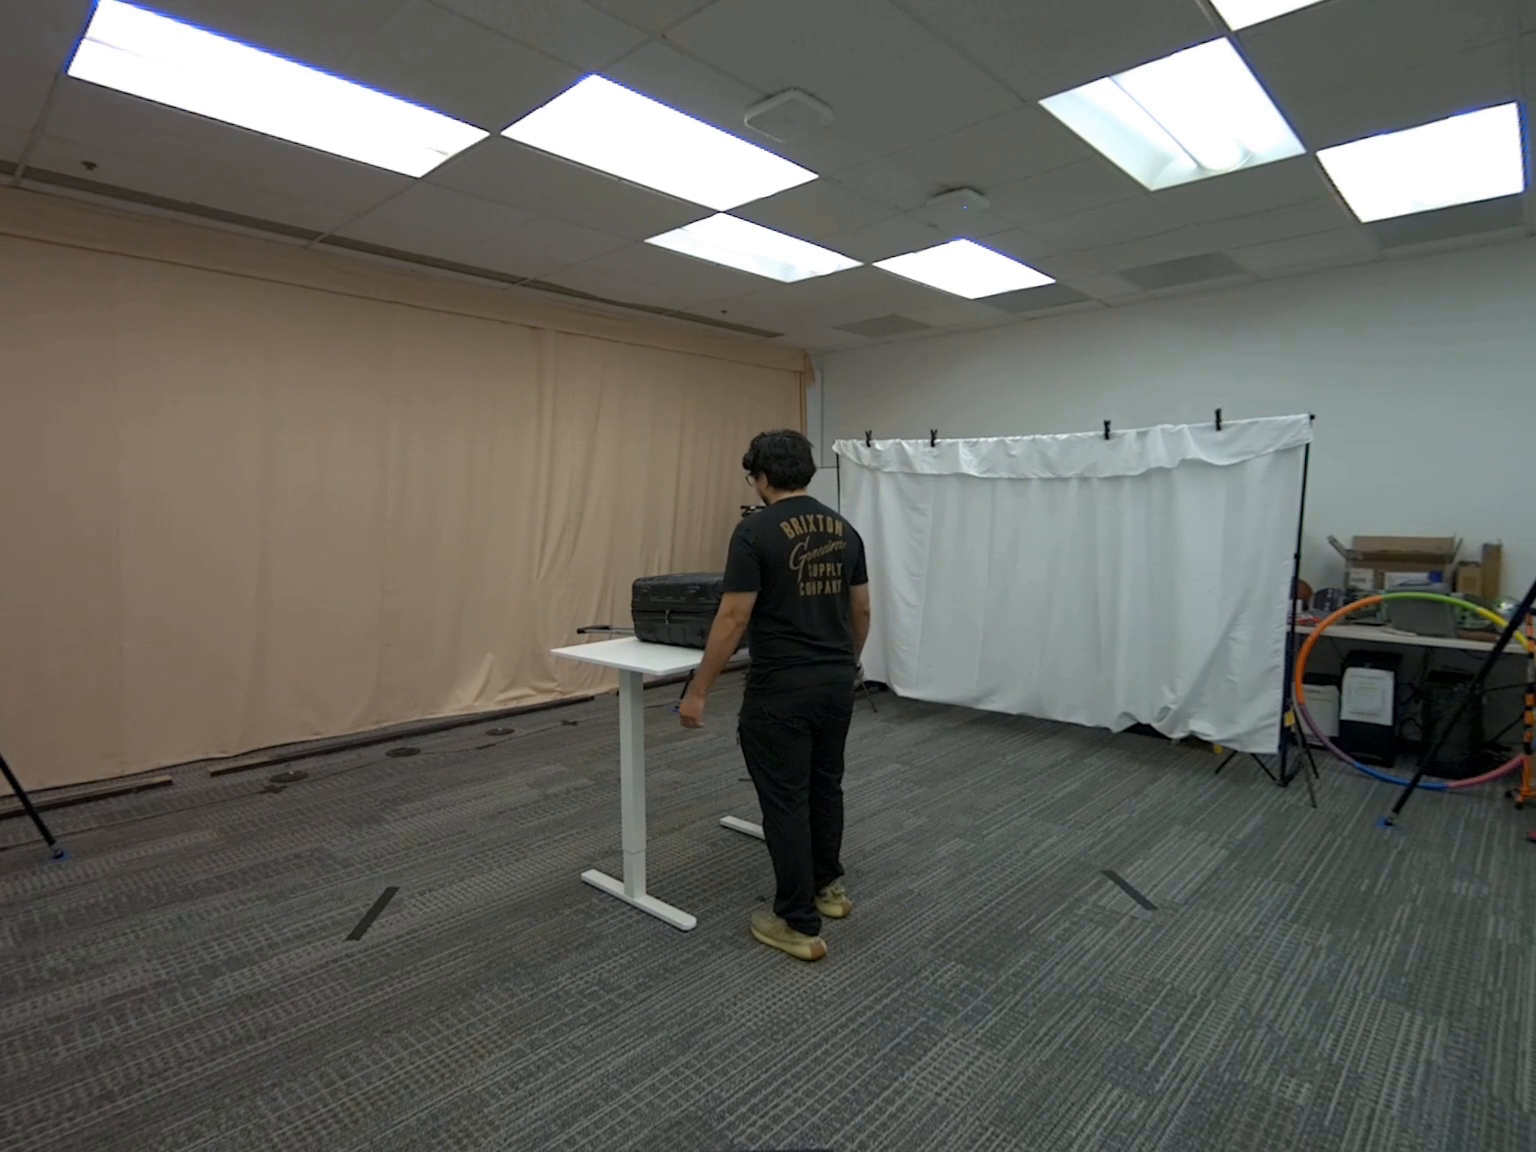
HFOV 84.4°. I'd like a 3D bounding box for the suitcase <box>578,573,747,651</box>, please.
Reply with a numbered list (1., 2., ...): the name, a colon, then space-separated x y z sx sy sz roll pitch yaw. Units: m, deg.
1. suitcase: -0.386 0.119 3.295 1.011 0.256 0.372 2 6 43
